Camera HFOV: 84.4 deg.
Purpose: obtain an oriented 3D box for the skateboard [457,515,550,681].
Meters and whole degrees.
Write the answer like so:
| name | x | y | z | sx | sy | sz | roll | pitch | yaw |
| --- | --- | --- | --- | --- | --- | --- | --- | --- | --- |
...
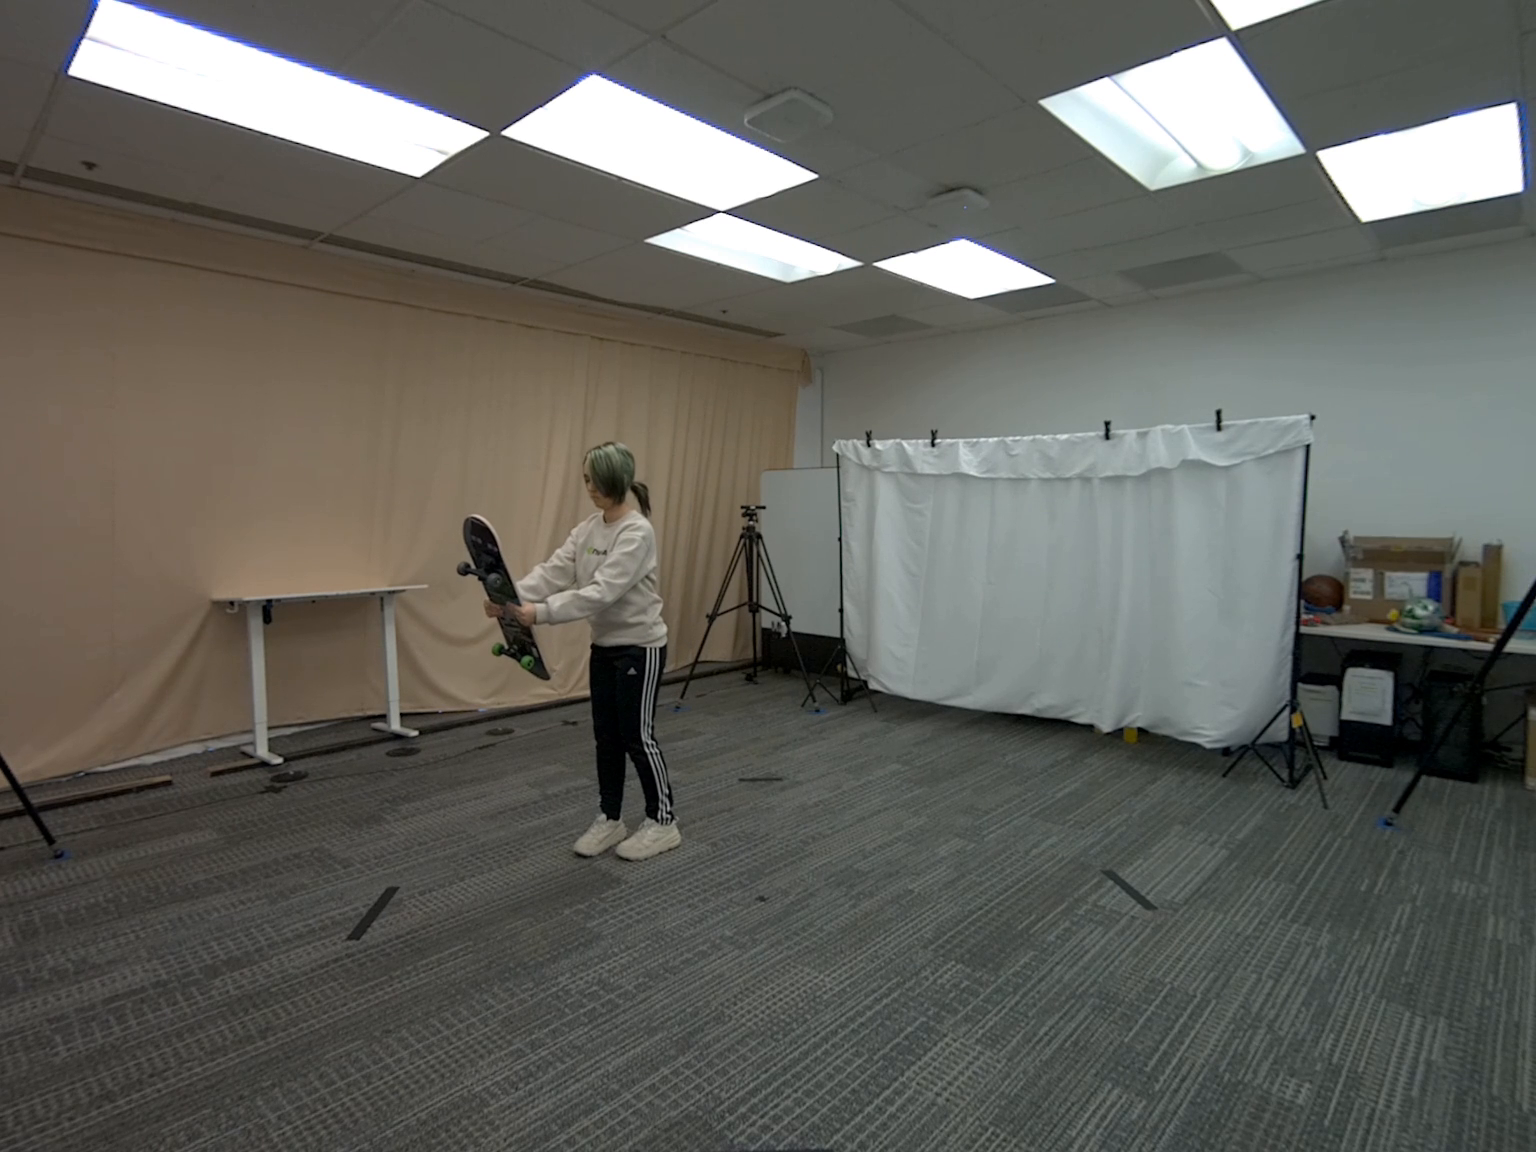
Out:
| name | x | y | z | sx | sy | sz | roll | pitch | yaw |
| --- | --- | --- | --- | --- | --- | --- | --- | --- | --- |
| skateboard | -0.946 | 0.128 | 3.026 | 0.199 | 0.767 | 0.109 | 17 | 45 | 29 |
